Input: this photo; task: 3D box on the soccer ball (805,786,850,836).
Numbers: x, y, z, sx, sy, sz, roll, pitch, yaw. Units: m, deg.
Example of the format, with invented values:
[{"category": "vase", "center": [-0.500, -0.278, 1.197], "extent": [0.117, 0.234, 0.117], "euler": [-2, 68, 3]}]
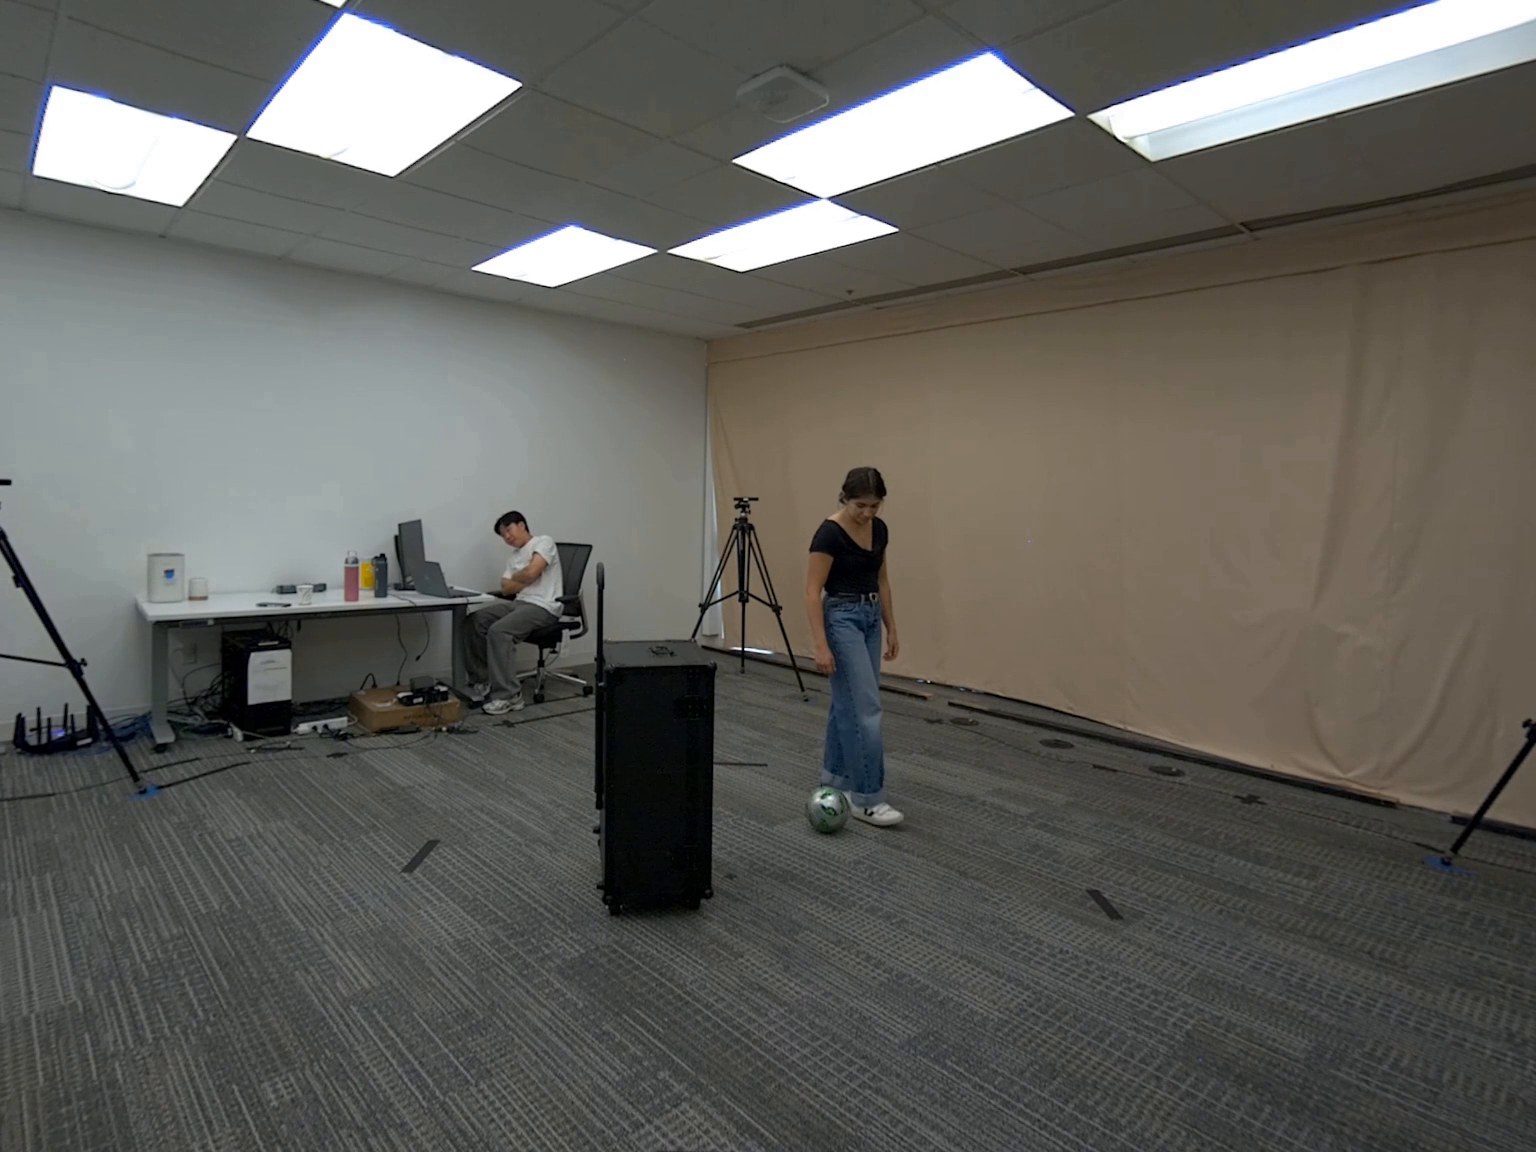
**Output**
[{"category": "soccer ball", "center": [0.241, 0.989, 3.550], "extent": [0.187, 0.187, 0.188], "euler": [1, 4, -1]}]
